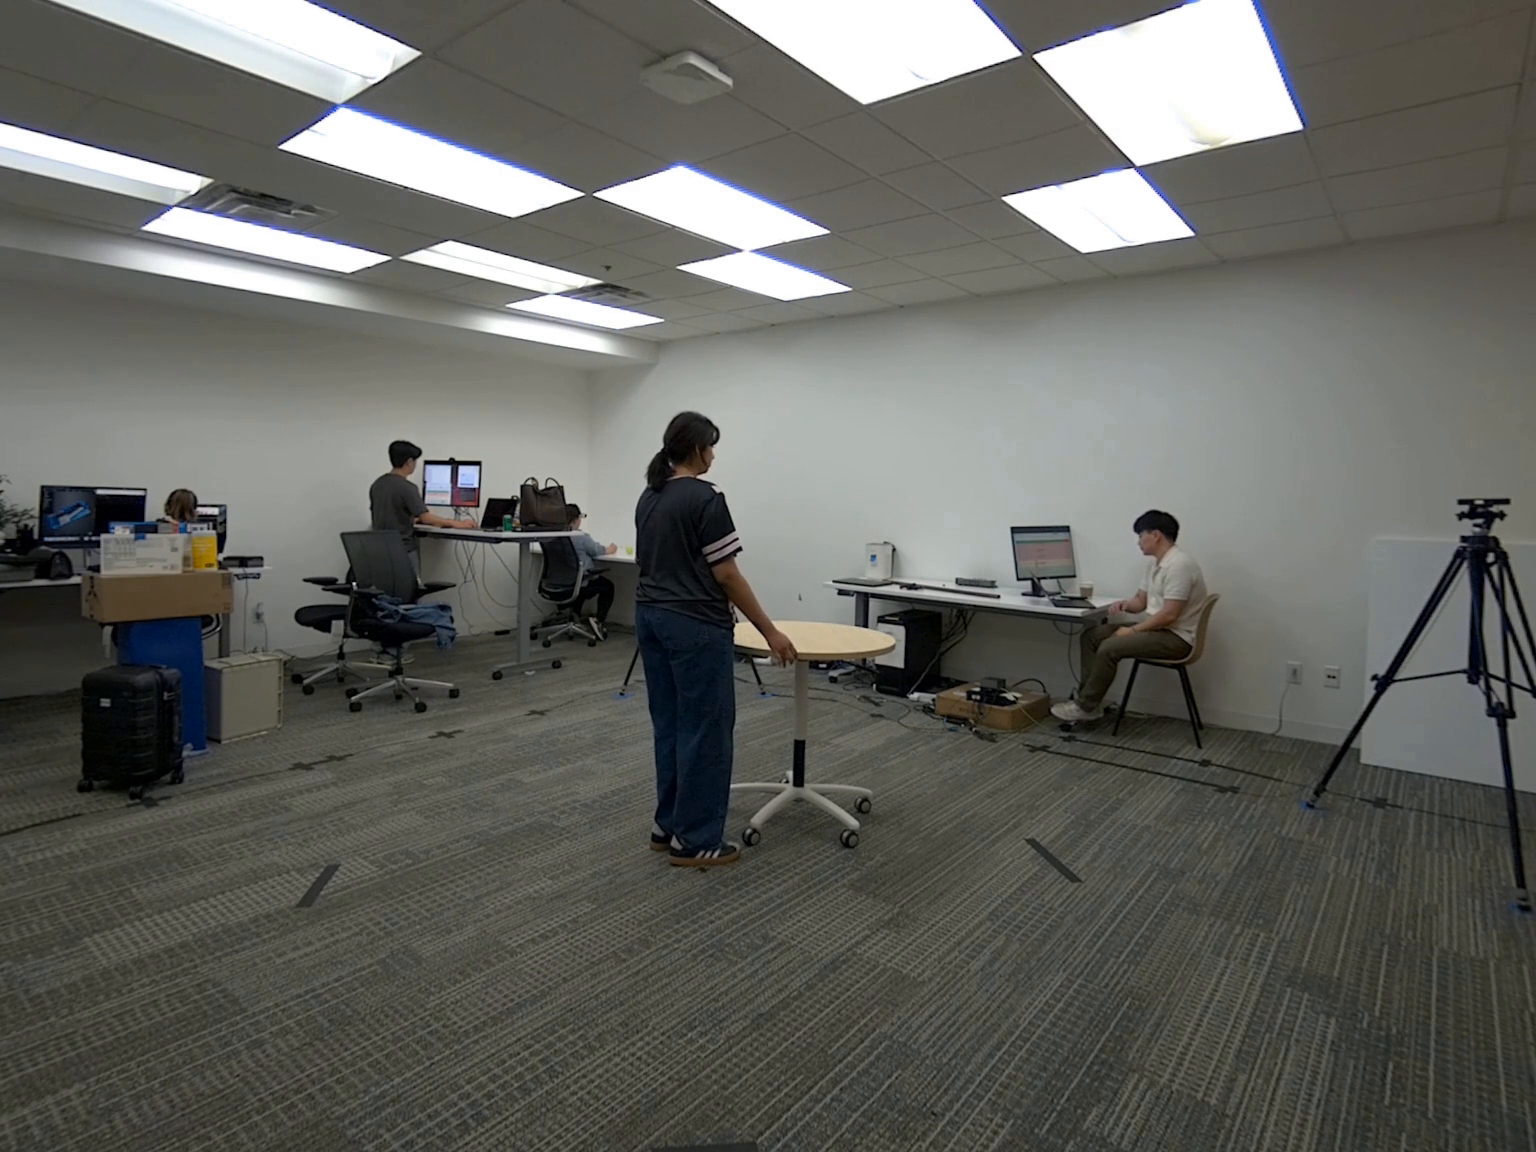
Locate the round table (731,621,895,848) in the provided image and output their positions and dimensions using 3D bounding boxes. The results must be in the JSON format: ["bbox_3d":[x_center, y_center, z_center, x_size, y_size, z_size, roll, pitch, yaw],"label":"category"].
[{"bbox_3d":[0.111,0.635,3.589,0.784,0.784,0.789,2,4,-2],"label":"round table"}]
